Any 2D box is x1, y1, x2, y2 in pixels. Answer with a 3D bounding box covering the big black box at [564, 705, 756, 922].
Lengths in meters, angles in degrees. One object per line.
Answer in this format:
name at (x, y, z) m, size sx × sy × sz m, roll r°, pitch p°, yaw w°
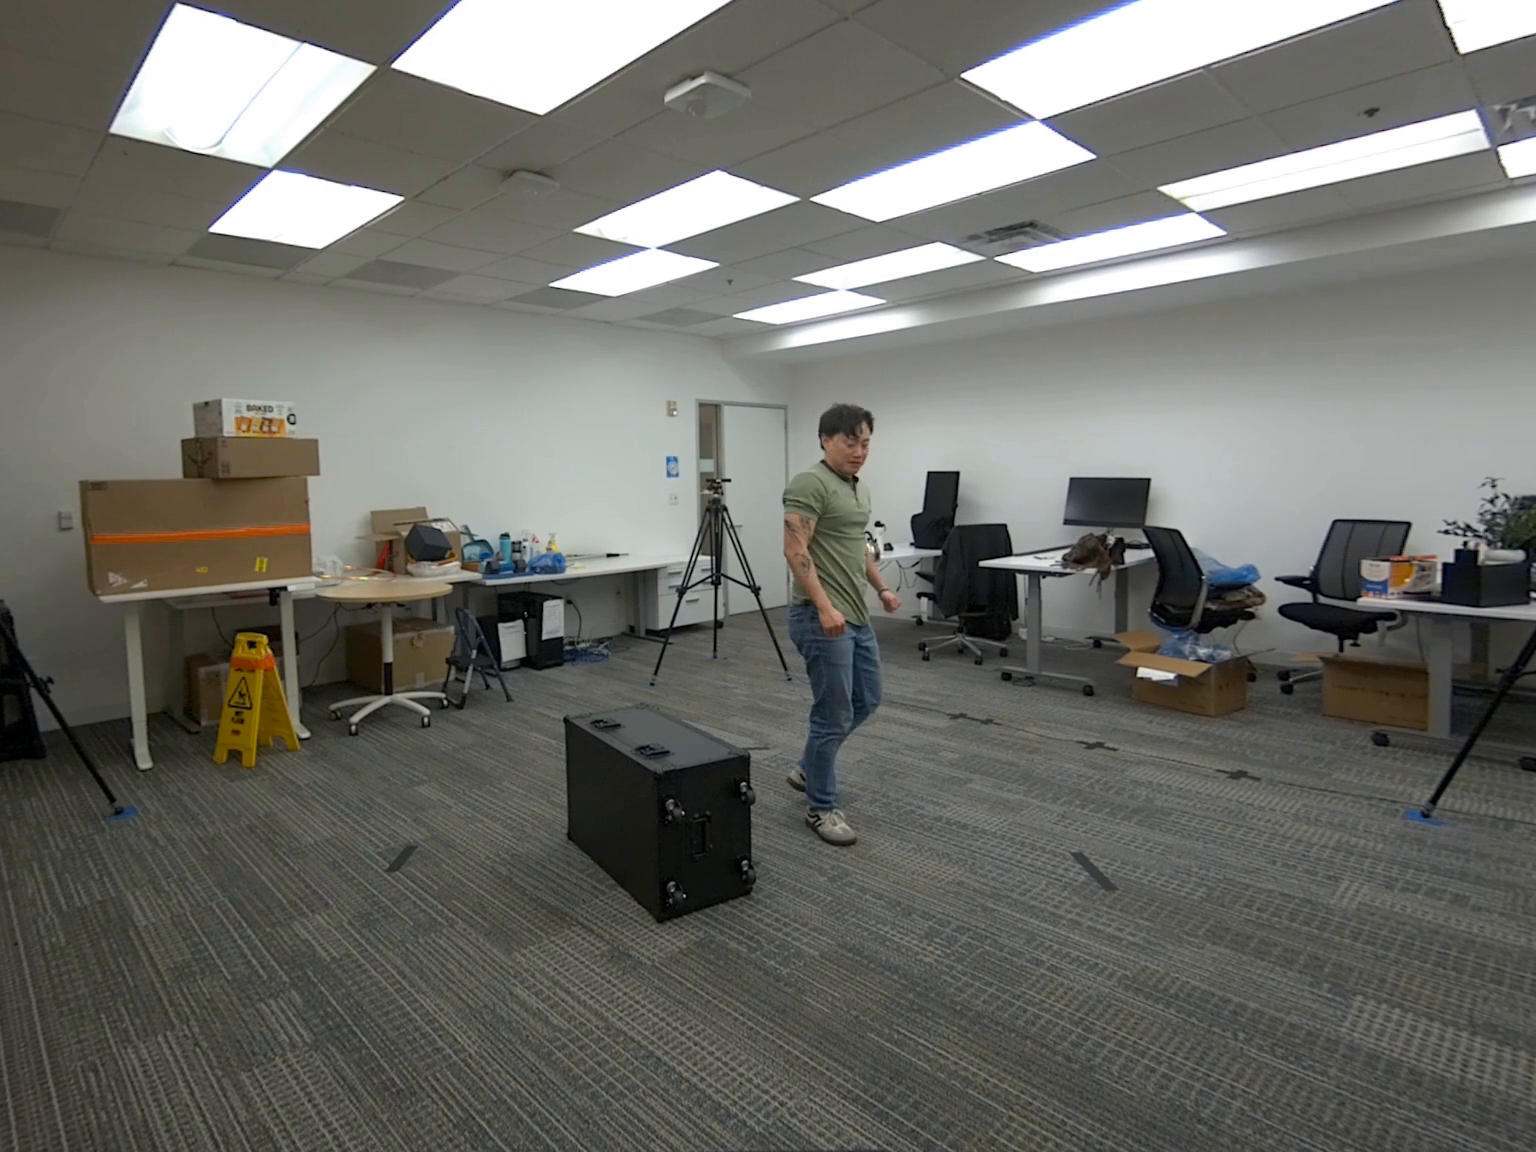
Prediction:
big black box at (-0.392, 0.812, 3.074) m, size 0.386 × 0.519 × 0.886 m, roll -3°, pitch 6°, yaw -33°
